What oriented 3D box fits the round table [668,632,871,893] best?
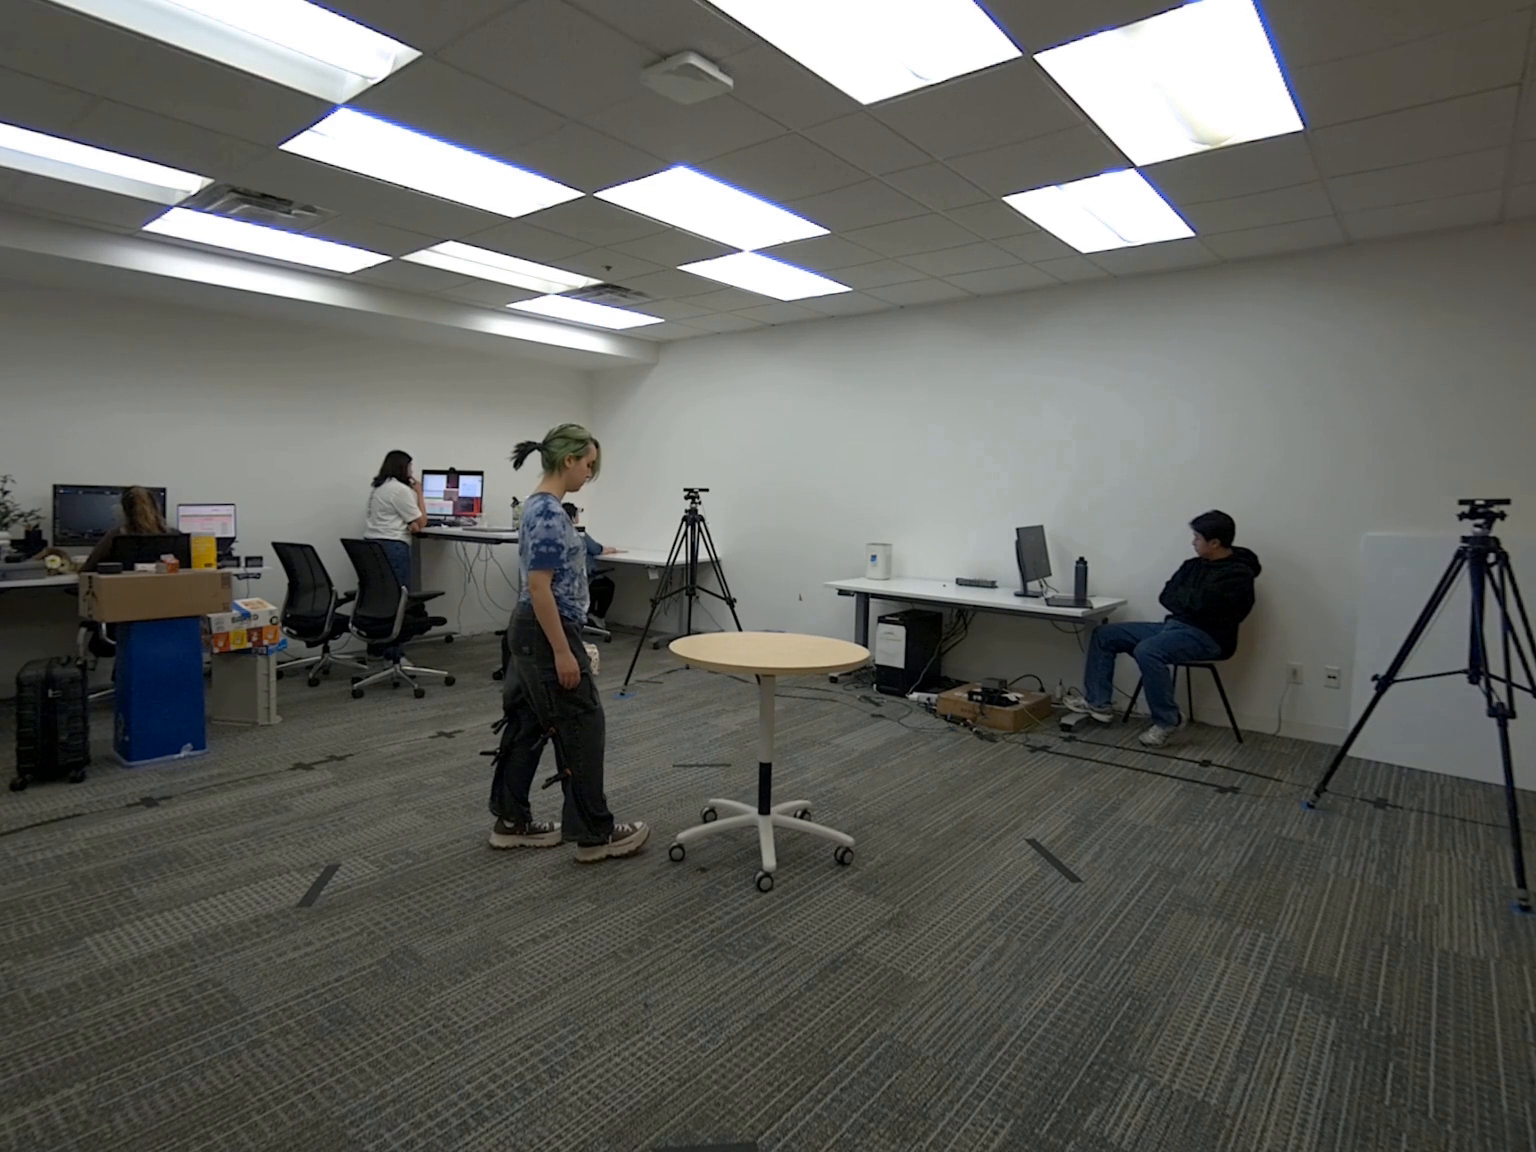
[{"bbox_3d":[-0.022,0.671,3.276,0.763,0.791,0.768,1,4,-2],"label":"round table"}]
